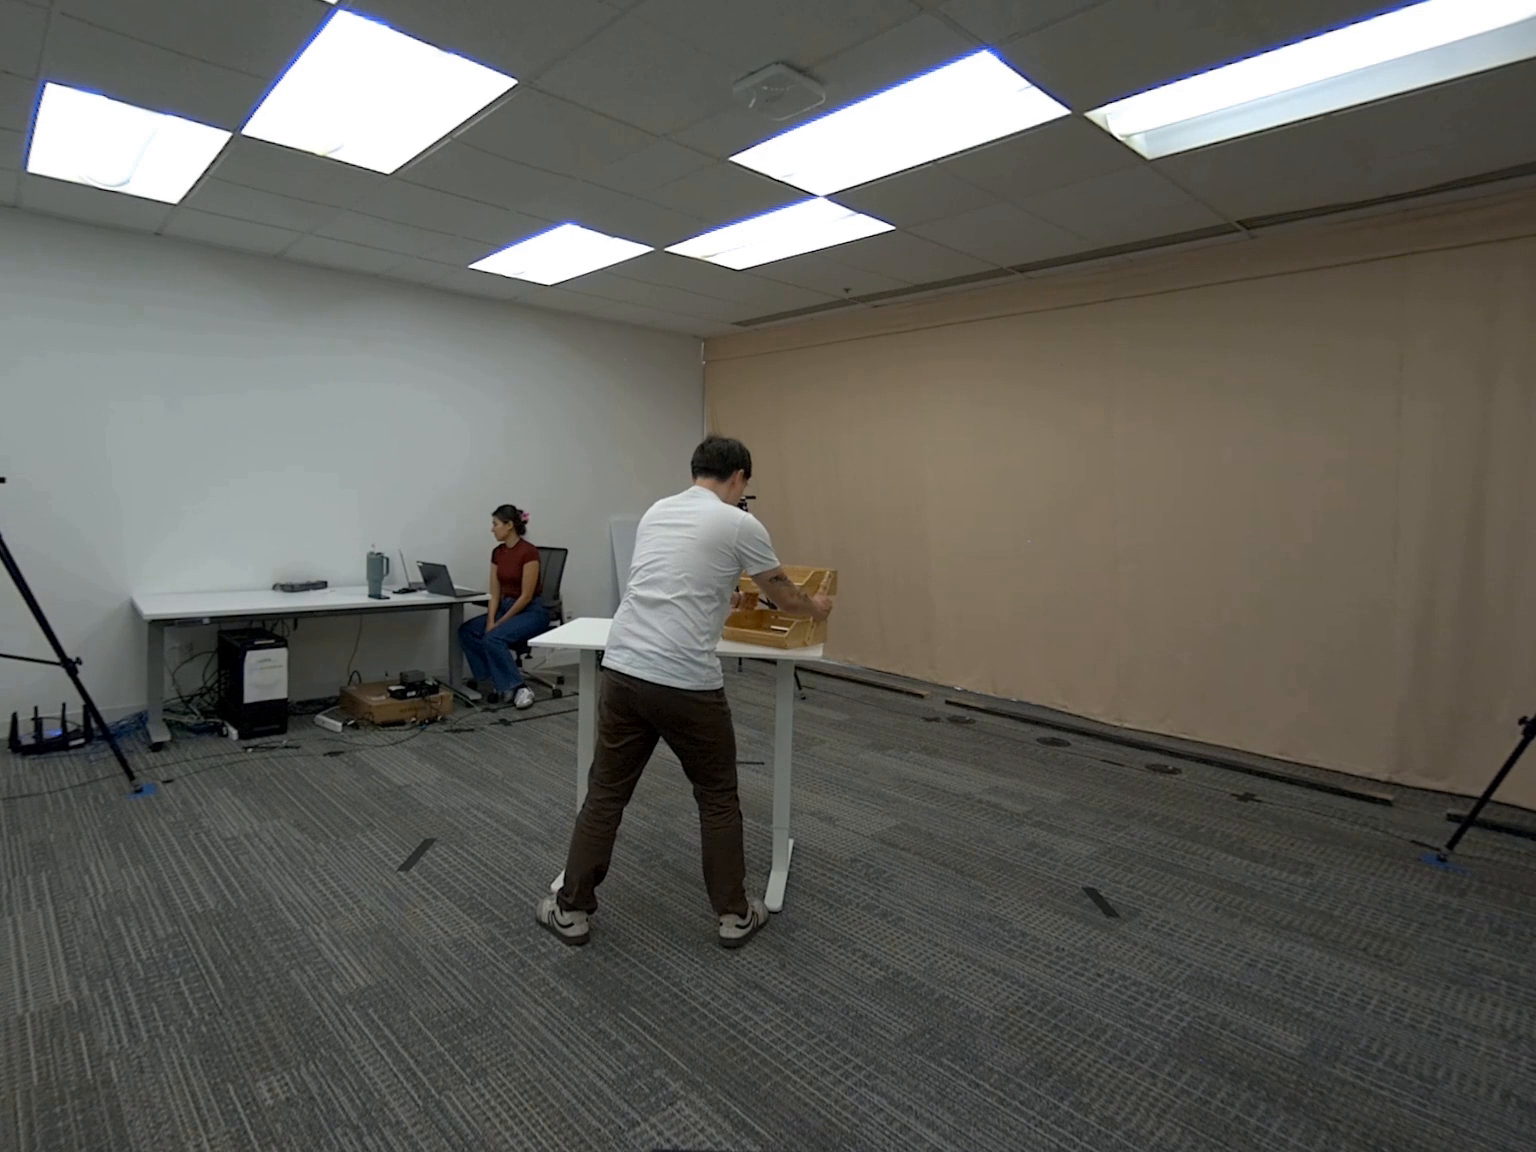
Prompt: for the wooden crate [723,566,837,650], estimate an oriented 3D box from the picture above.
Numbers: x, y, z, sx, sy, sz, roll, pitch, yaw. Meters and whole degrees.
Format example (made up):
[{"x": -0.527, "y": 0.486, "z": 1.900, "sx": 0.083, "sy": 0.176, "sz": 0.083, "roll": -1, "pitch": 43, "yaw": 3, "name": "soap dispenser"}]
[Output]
[{"x": 0.017, "y": 0.098, "z": 3.035, "sx": 0.332, "sy": 0.273, "sz": 0.295, "roll": 5, "pitch": 5, "yaw": 39, "name": "wooden crate"}]
